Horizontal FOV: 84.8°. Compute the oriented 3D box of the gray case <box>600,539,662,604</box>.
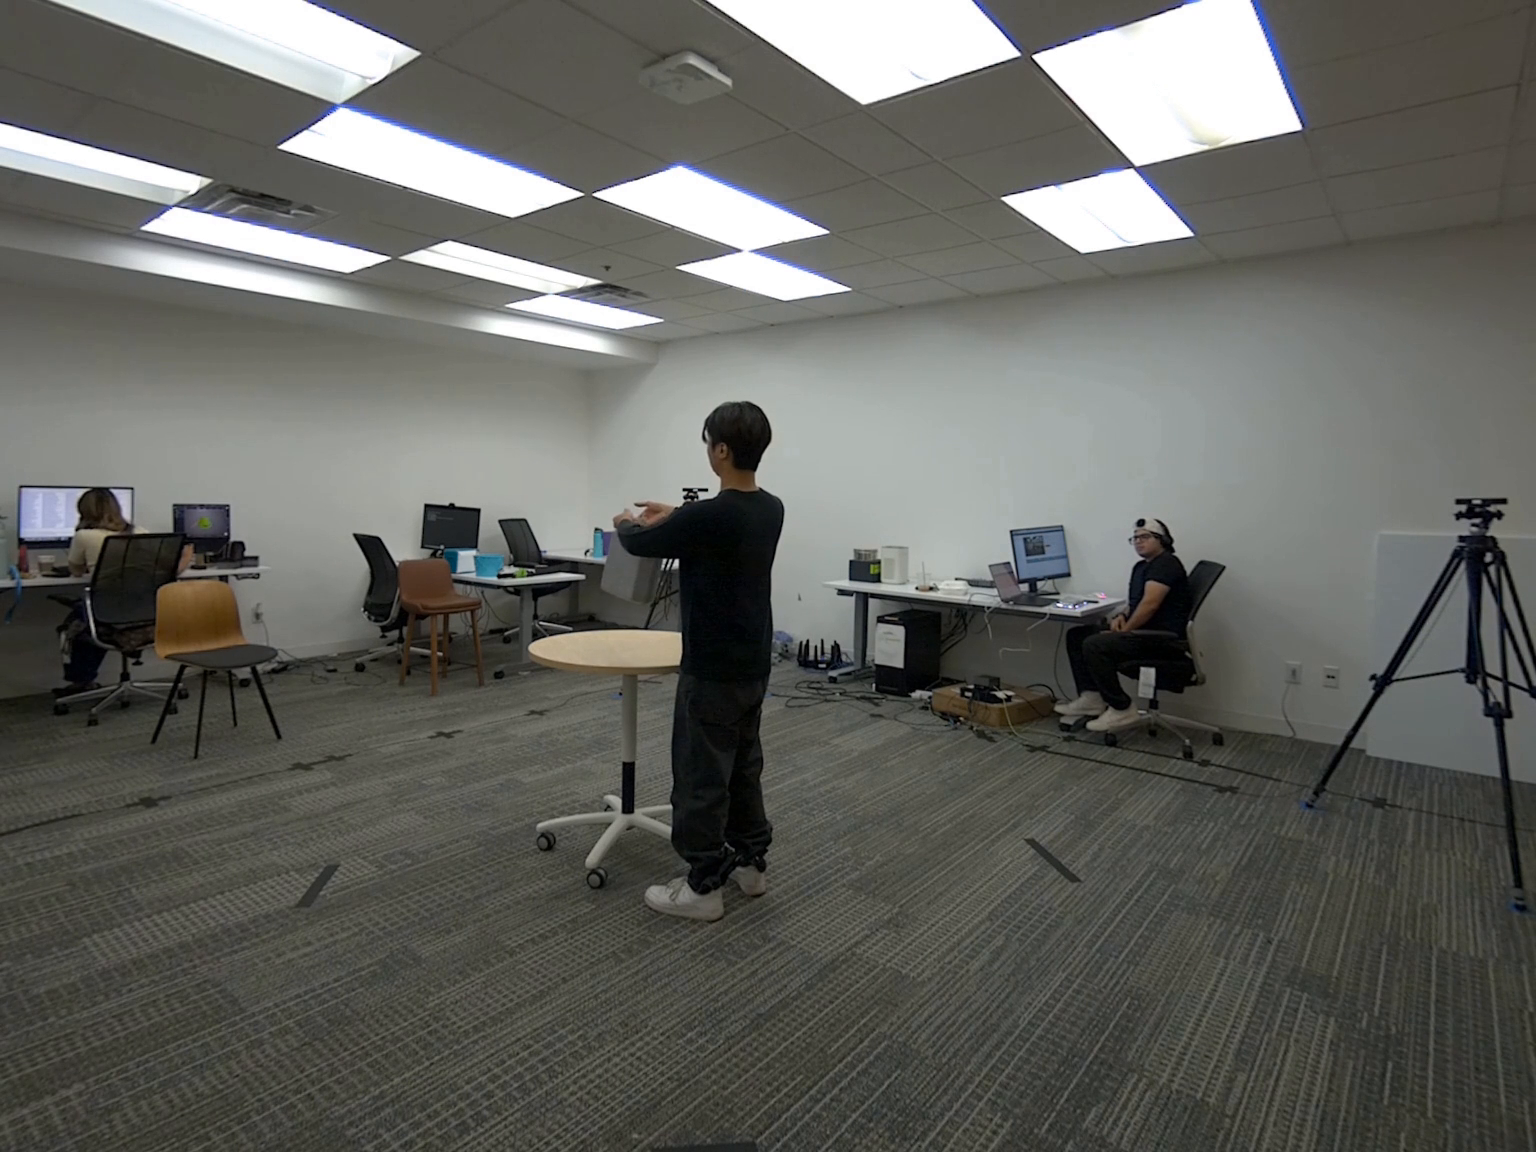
[{"bbox_3d":[-0.518,-0.044,3.191,0.101,0.260,0.266,9,3,-39],"label":"gray case"}]
